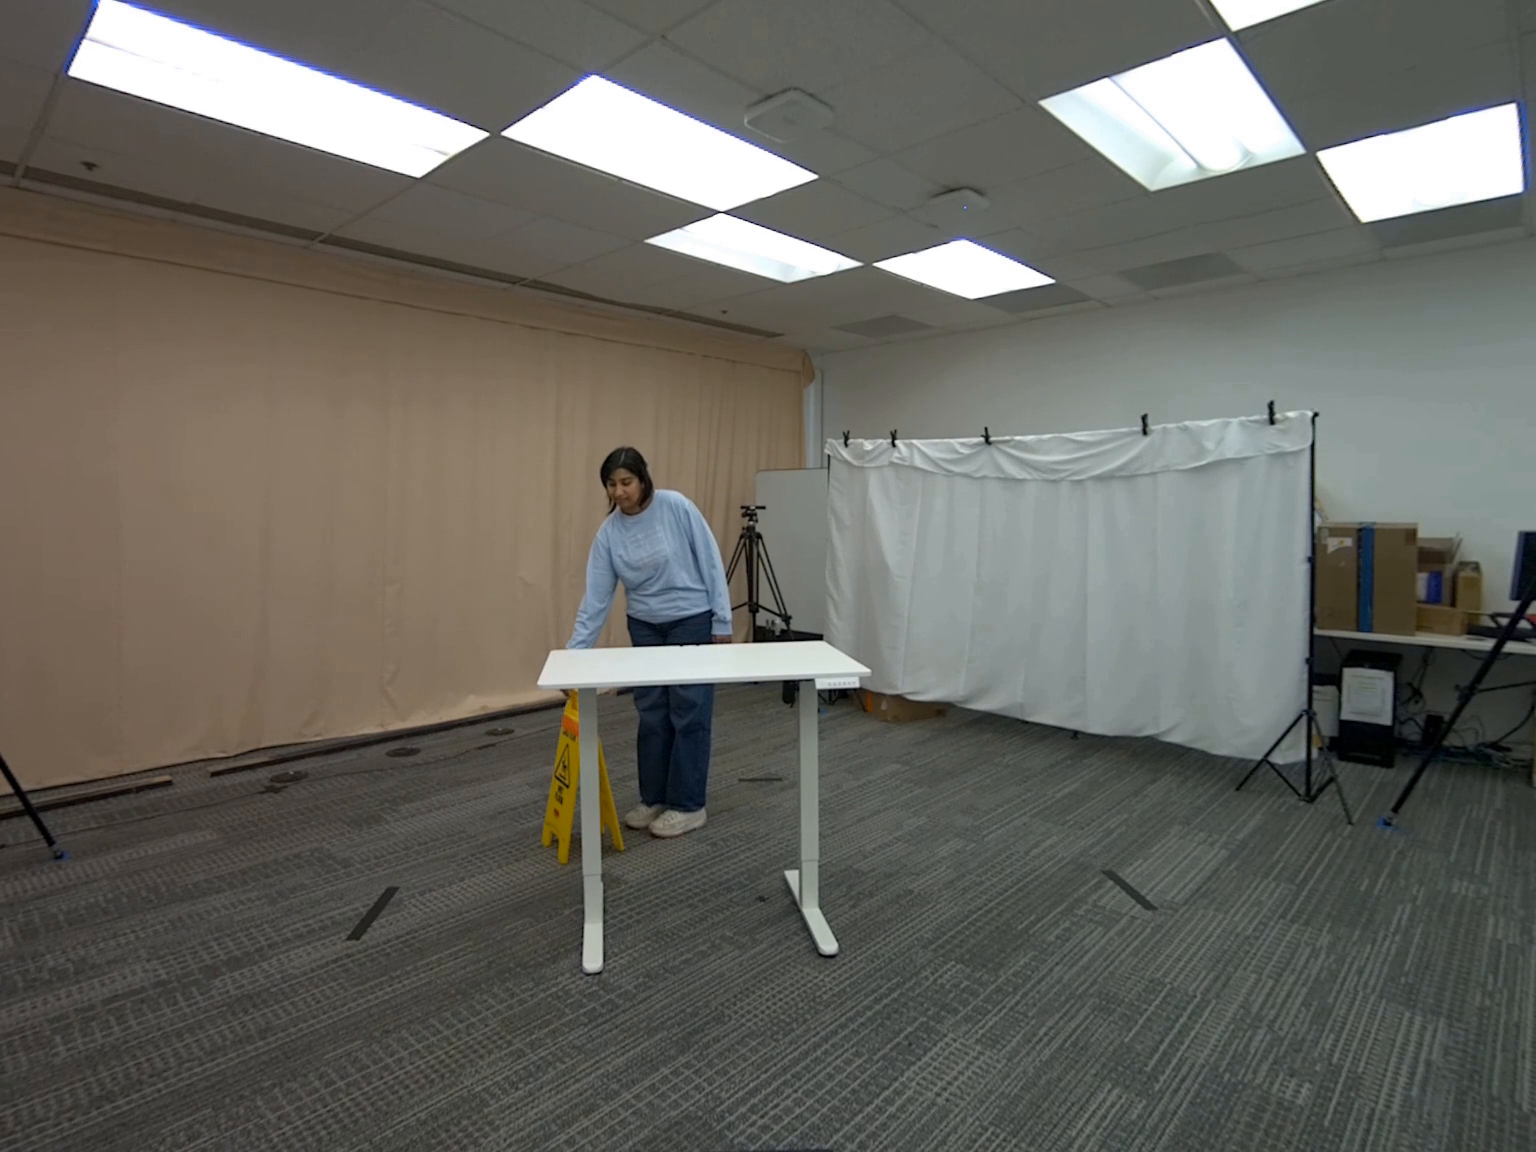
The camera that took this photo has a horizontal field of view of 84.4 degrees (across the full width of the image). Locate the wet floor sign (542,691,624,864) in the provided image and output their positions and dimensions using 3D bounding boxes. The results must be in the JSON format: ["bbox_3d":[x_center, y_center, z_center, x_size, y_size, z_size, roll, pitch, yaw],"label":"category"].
[{"bbox_3d":[-0.770,0.789,3.446,0.282,0.645,0.290,-3,3,-31],"label":"wet floor sign"}]
